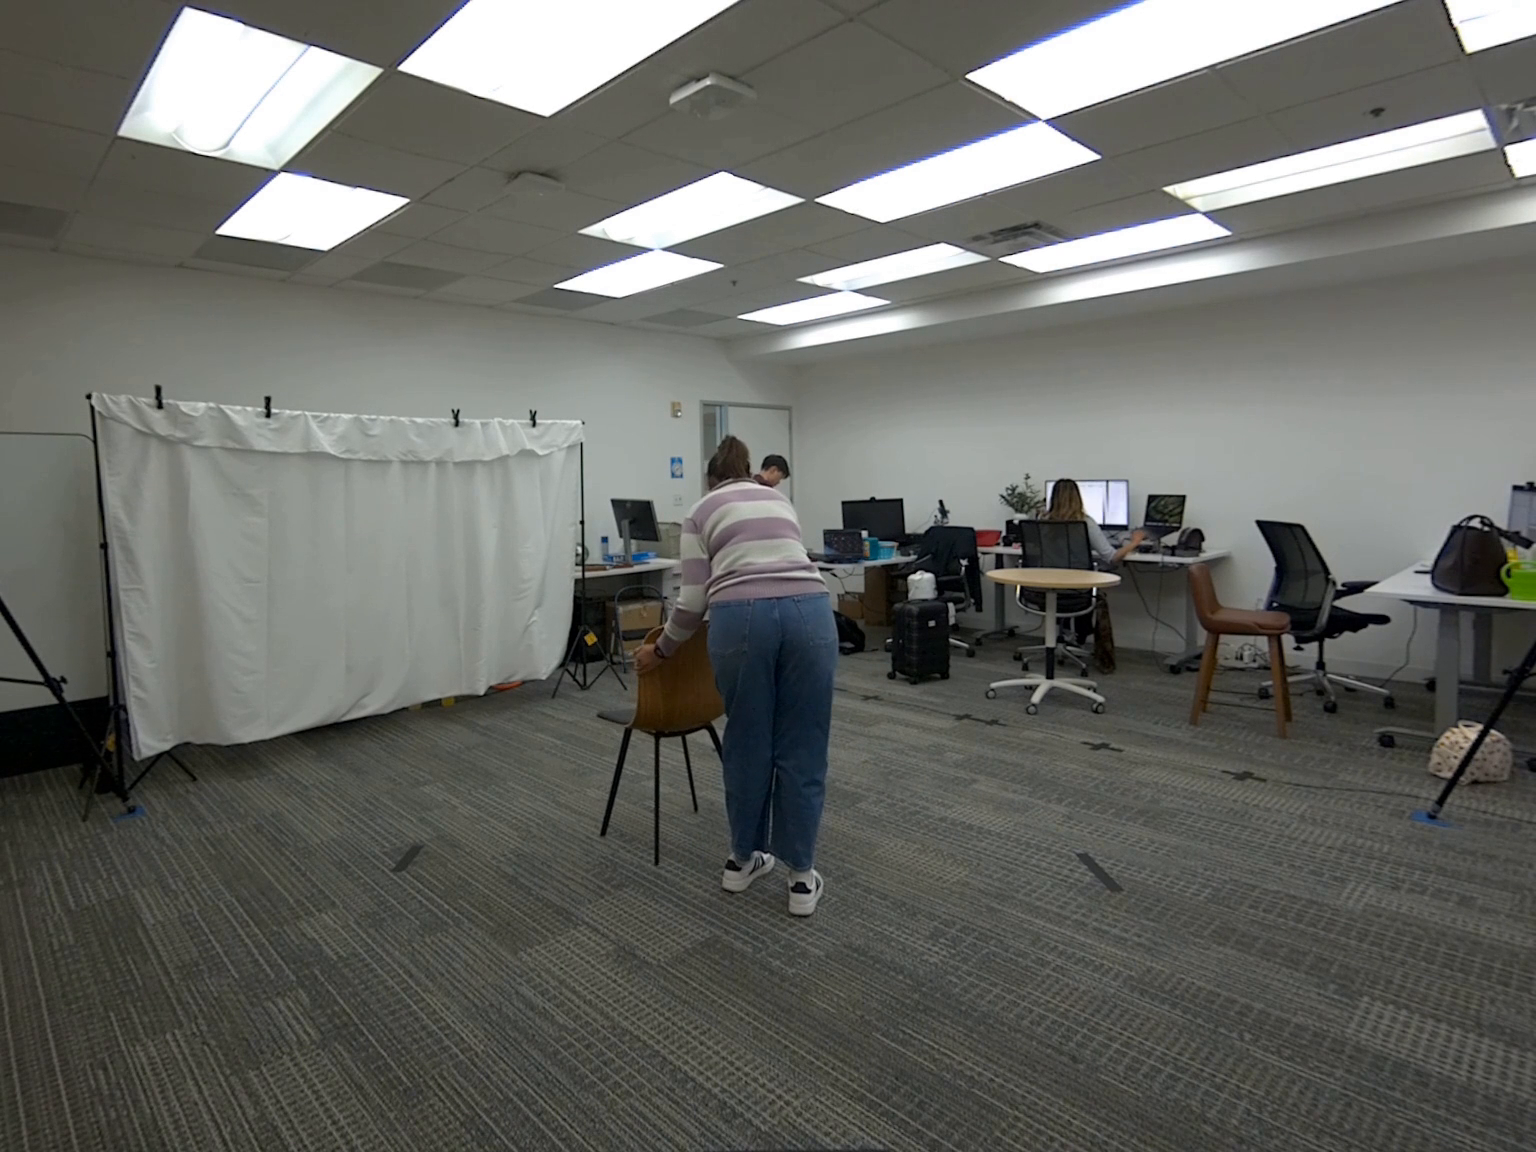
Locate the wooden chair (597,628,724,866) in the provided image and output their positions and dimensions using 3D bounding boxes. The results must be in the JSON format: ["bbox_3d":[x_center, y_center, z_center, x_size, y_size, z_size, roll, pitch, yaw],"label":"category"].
[{"bbox_3d":[-0.387,0.581,3.325,0.466,0.875,0.538,-4,4,-35],"label":"wooden chair"}]
